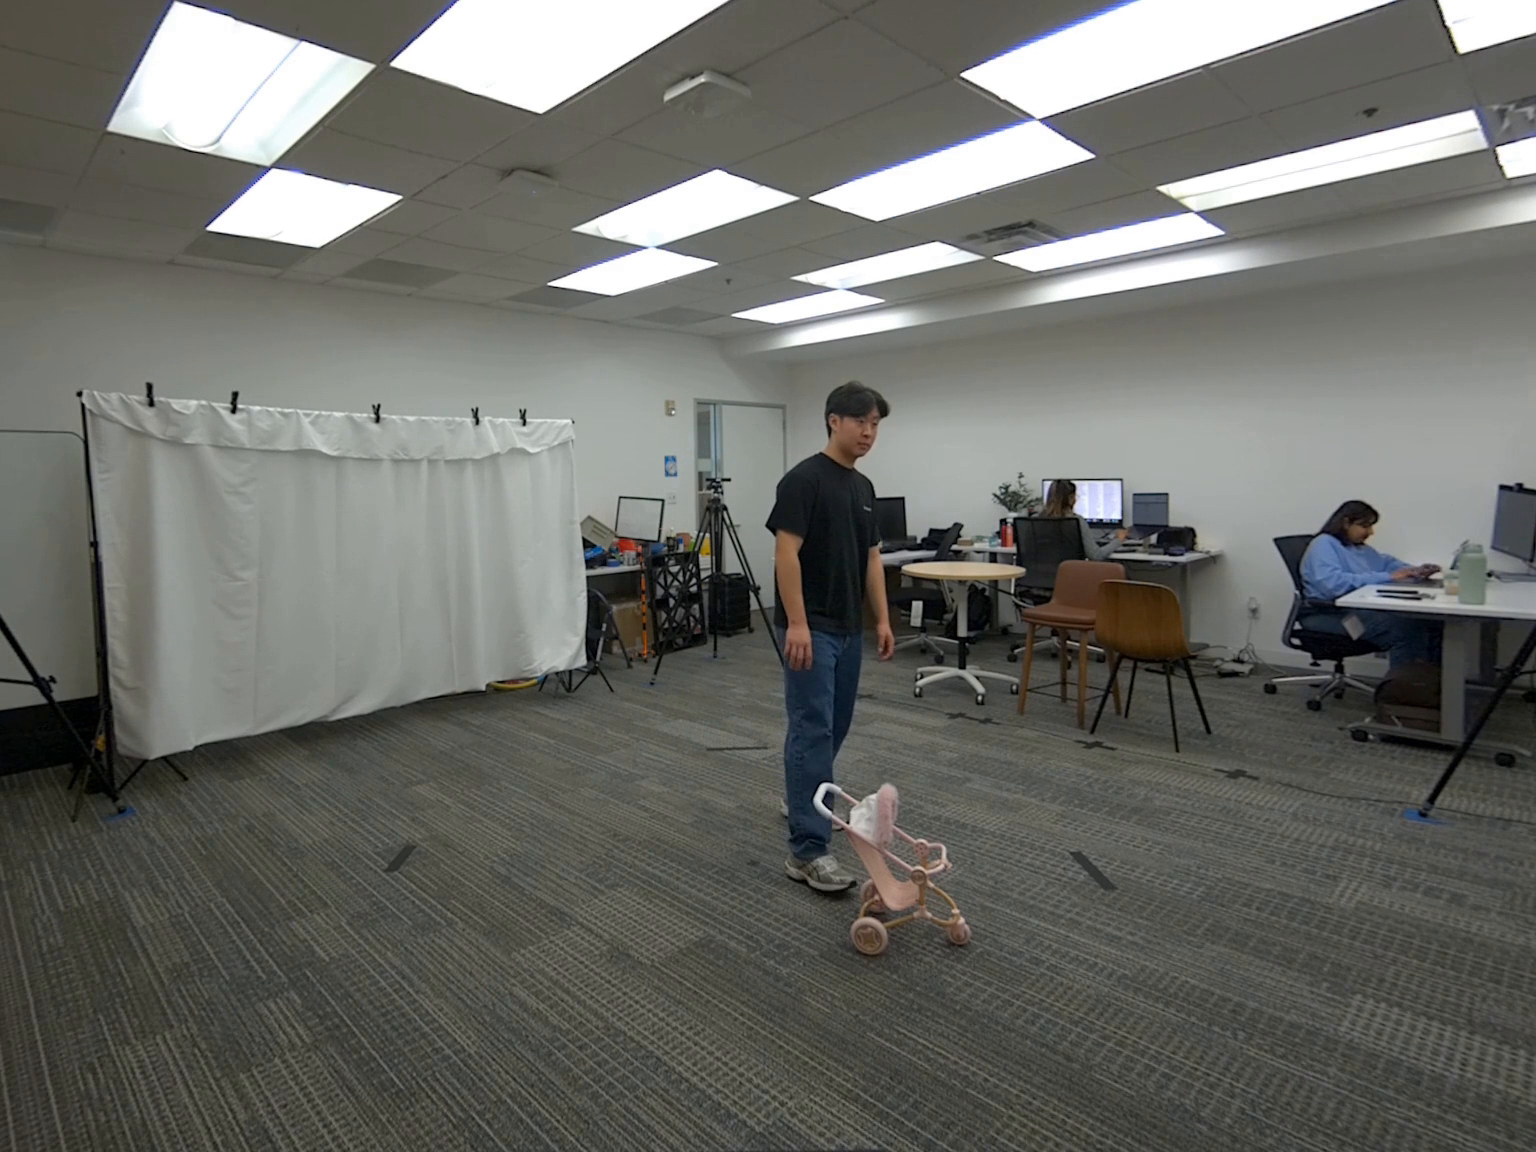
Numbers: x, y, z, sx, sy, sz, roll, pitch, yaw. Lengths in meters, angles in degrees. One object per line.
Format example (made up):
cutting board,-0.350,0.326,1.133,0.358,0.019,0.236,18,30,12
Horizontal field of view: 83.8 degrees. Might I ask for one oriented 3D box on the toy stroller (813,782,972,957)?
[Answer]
toy stroller,0.385,0.877,2.583,0.346,0.536,0.277,-17,-1,20
